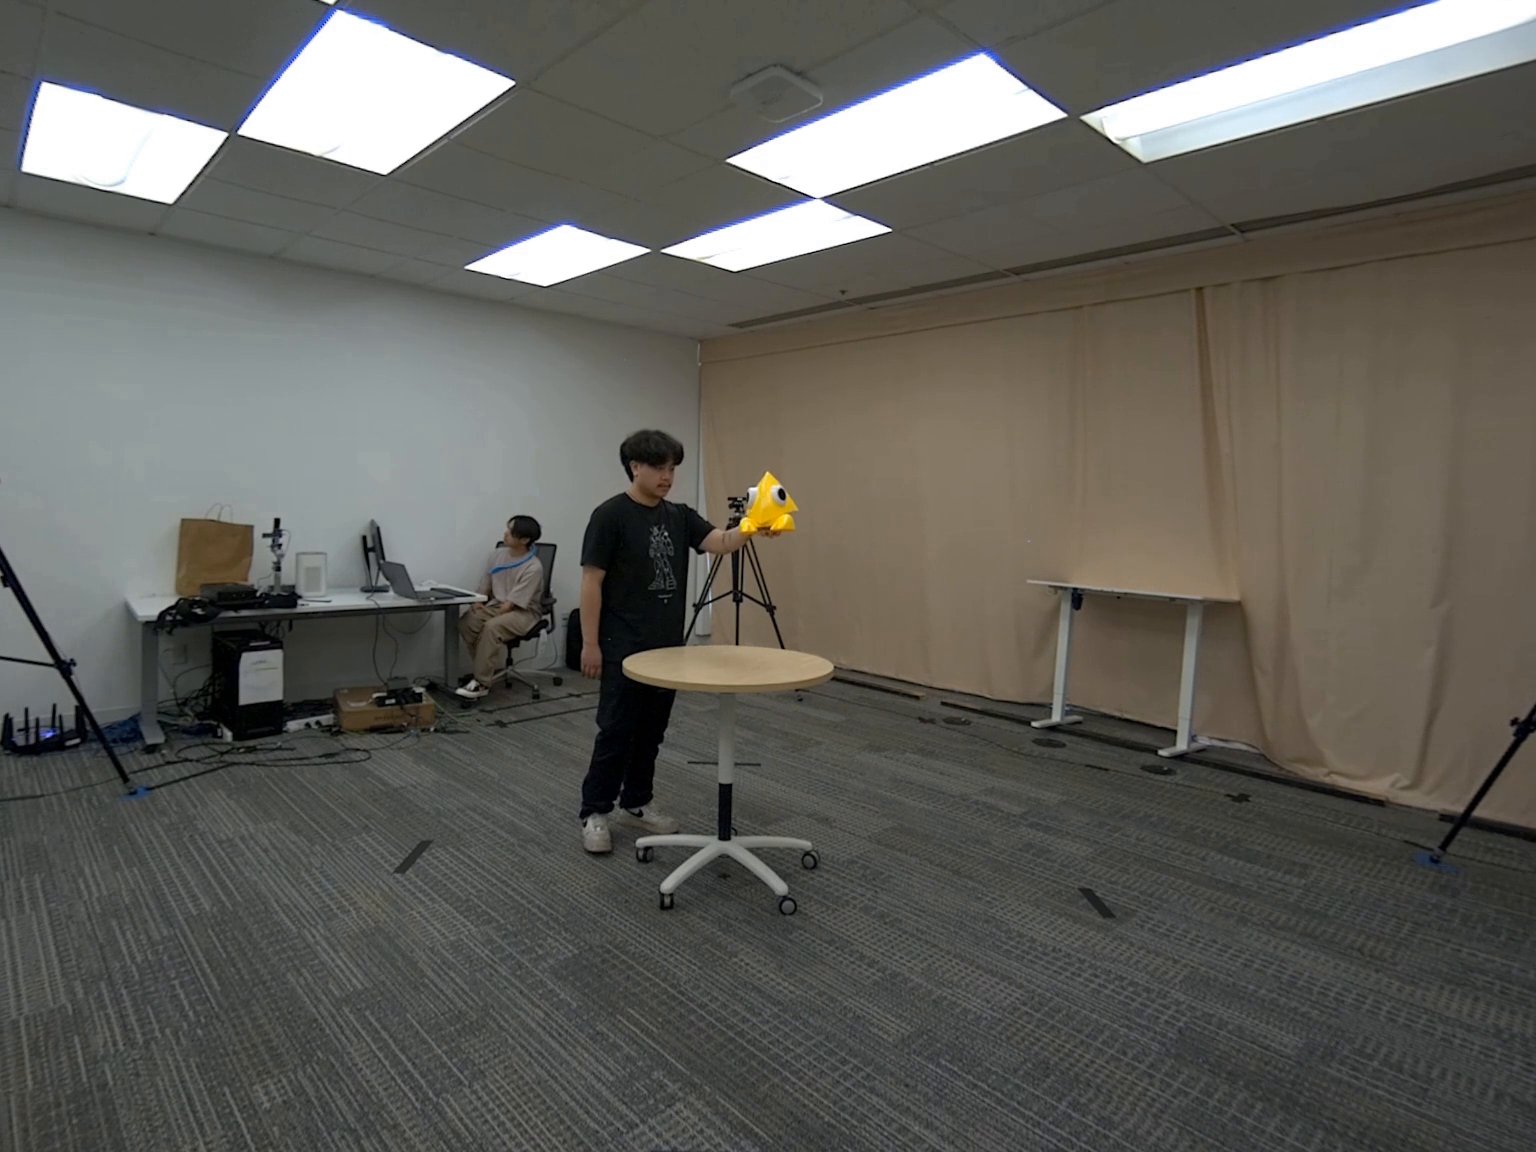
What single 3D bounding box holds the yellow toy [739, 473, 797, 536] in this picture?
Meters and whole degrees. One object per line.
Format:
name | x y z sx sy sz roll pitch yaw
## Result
yellow toy | -0.021 -0.280 3.104 0.207 0.231 0.190 -3 -4 14
